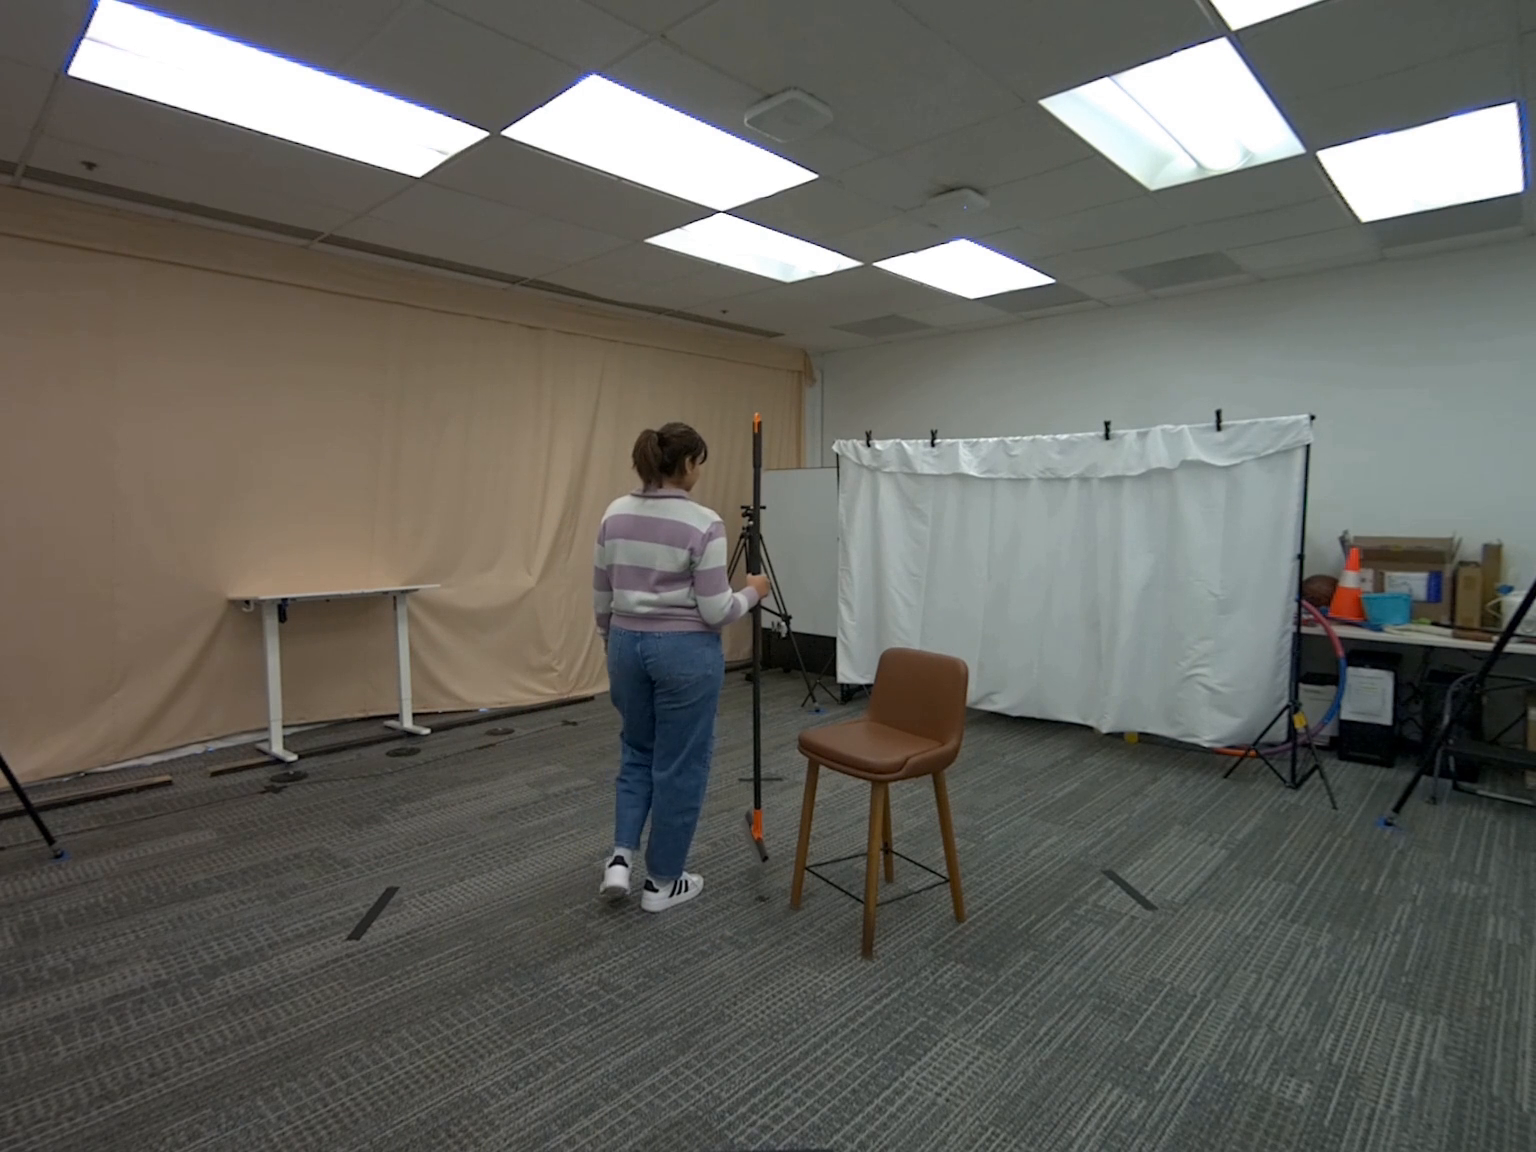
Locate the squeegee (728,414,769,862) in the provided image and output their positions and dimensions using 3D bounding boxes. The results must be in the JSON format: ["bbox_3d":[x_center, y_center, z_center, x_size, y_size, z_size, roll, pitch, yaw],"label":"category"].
[{"bbox_3d":[-0.044,0.197,3.024,0.052,1.537,0.446,-1,0,-19],"label":"squeegee"}]
